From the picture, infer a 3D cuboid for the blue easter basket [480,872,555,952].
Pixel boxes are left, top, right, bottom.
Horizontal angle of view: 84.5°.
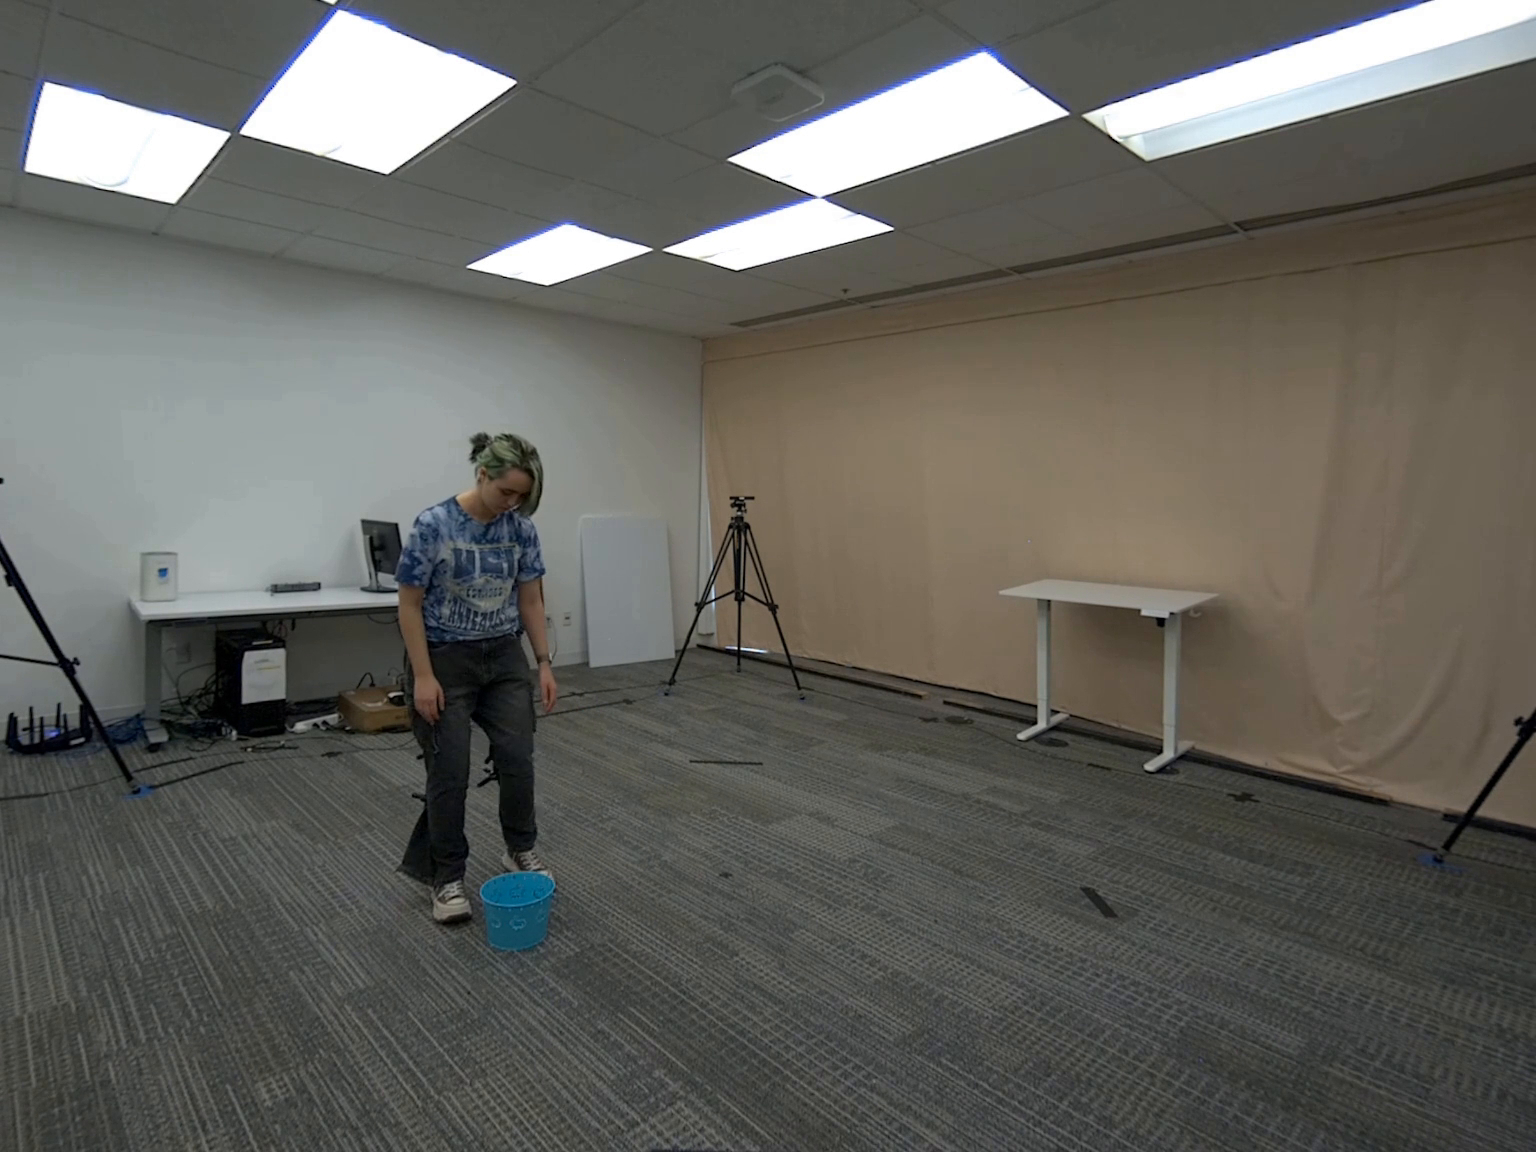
[{"bbox_3d":[-0.791,1.056,2.647,0.243,0.155,0.244,1,5,-1],"label":"blue easter basket"}]
